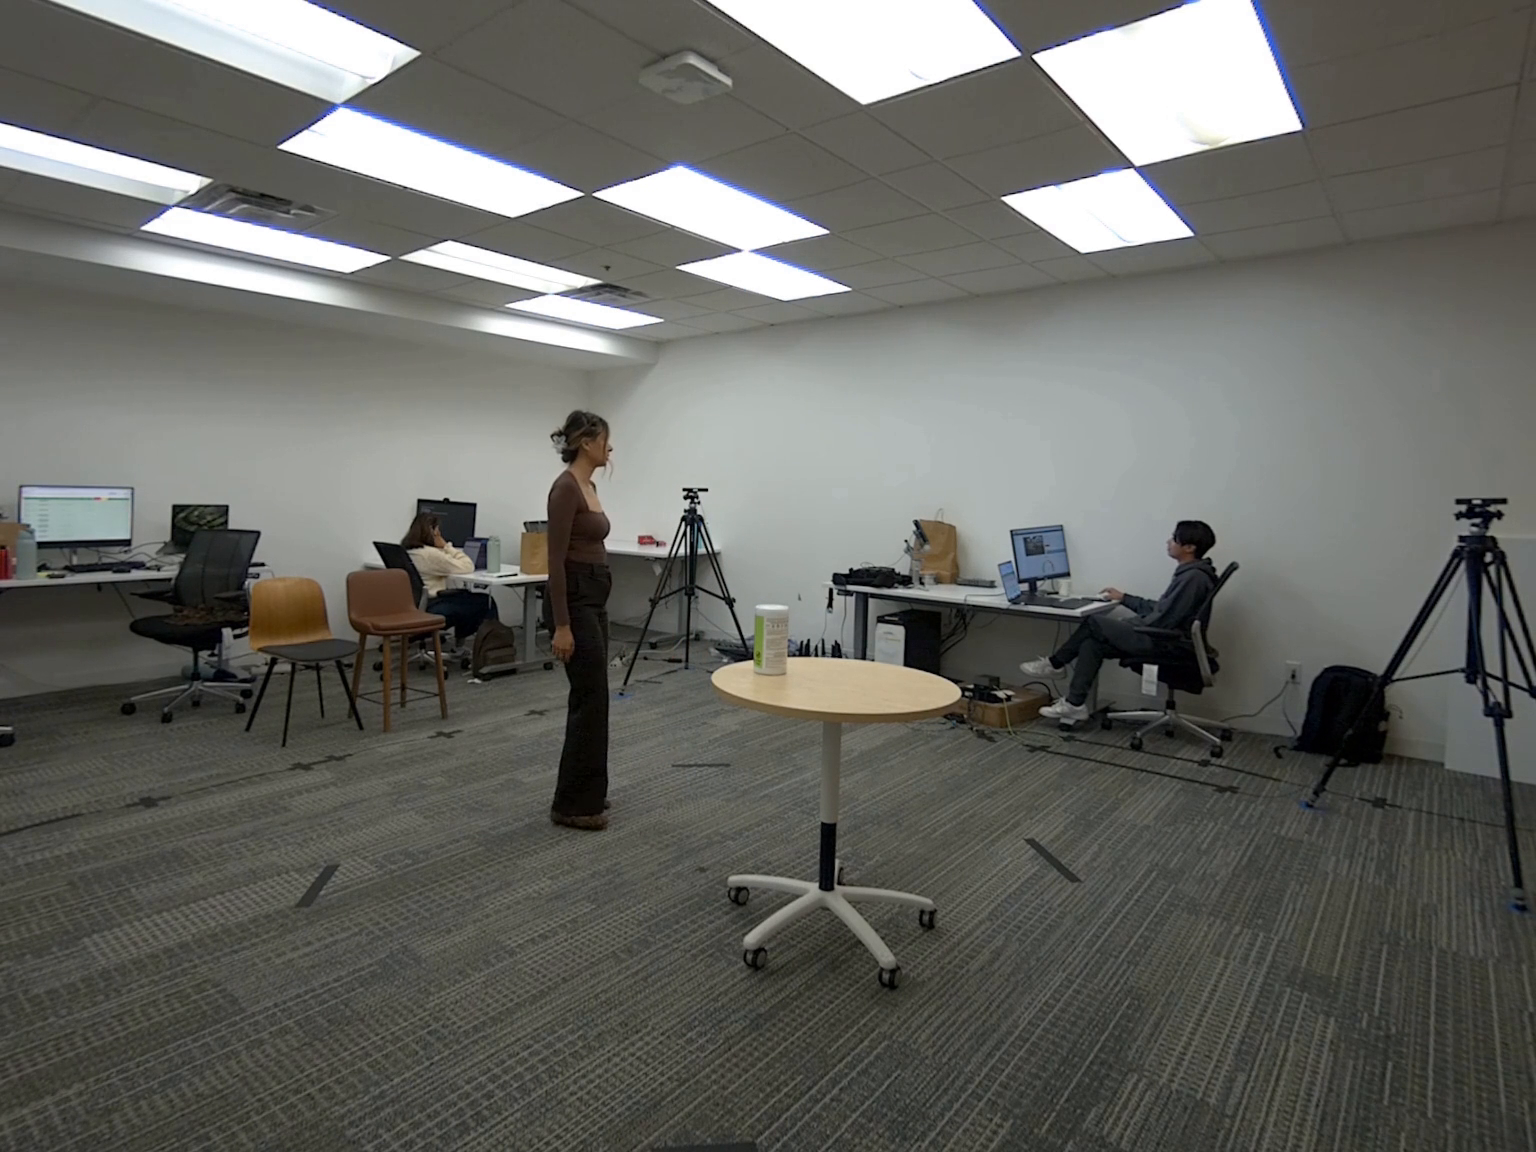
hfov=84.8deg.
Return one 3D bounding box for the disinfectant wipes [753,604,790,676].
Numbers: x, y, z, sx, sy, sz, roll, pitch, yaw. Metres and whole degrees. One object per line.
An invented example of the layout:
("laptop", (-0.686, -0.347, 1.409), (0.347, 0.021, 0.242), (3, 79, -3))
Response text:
("disinfectant wipes", (0.004, 0.205, 2.750), (0.118, 0.217, 0.118), (1, 2, -2))
